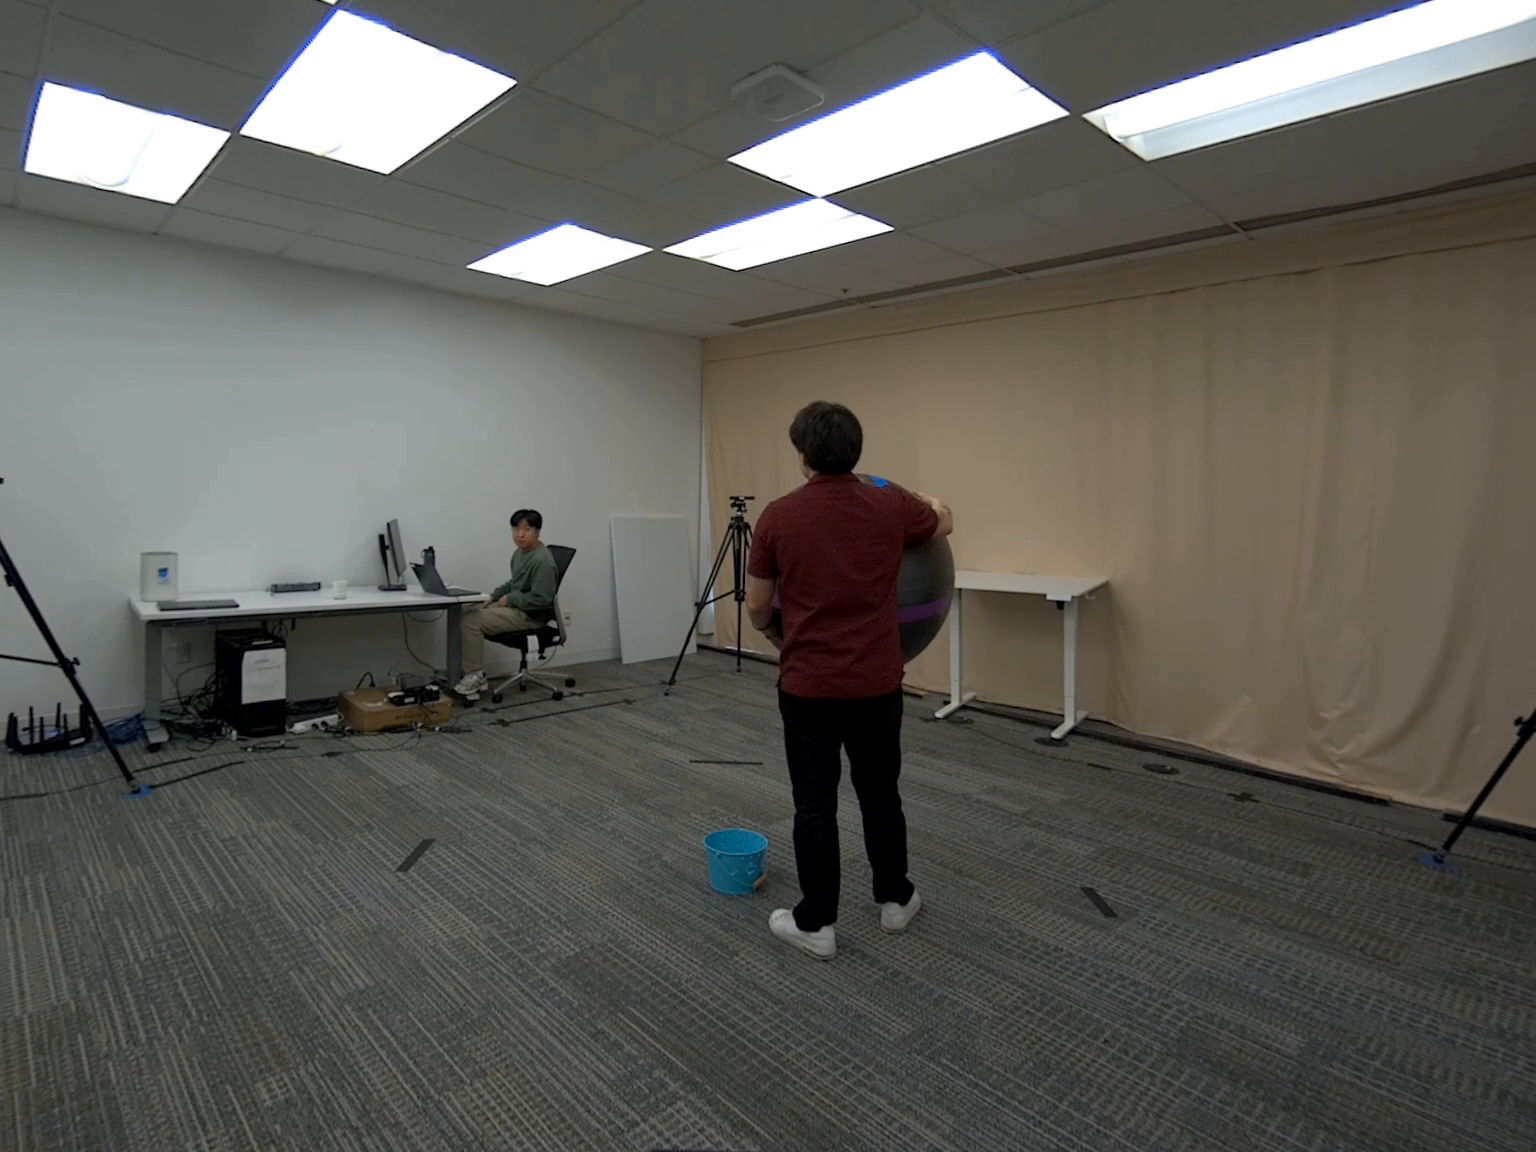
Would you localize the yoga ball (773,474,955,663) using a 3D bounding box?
[{"bbox_3d":[0.307,0.010,3.119,0.757,0.756,0.761,1,4,-1],"label":"yoga ball"}]
